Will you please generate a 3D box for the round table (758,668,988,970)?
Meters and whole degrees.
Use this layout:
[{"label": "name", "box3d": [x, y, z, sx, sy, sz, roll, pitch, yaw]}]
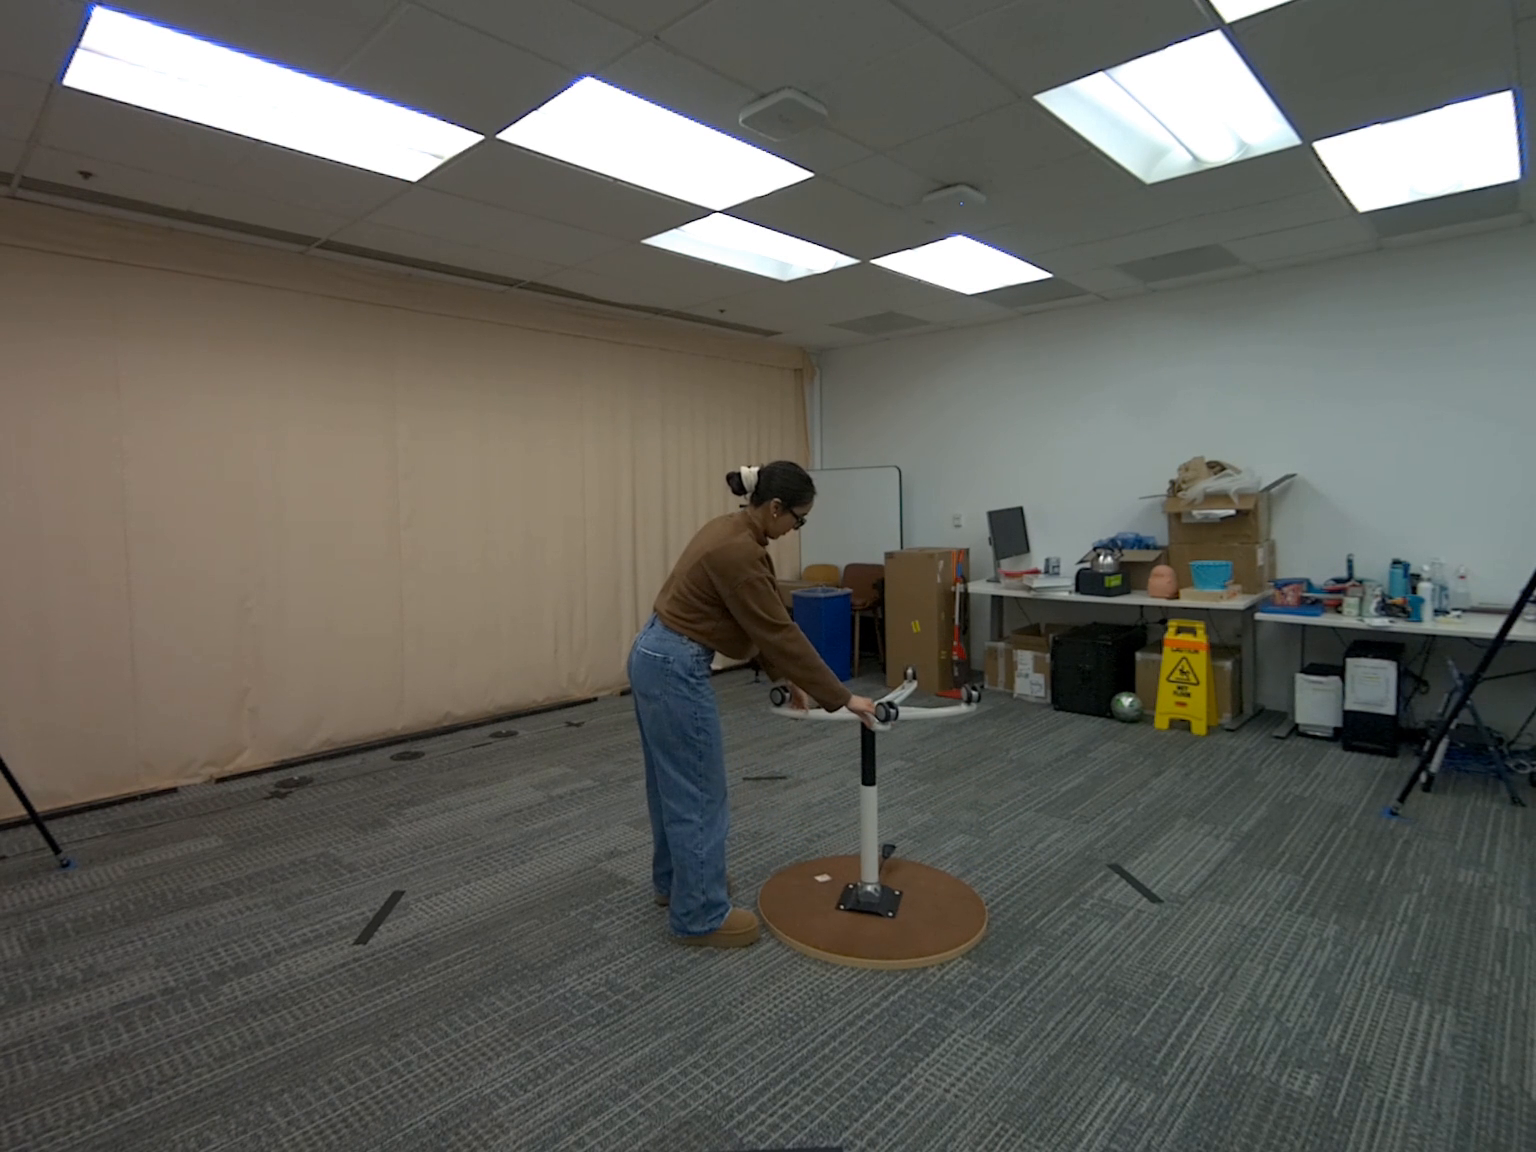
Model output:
[{"label": "round table", "box3d": [0.357, 0.749, 2.876, 0.763, 0.792, 0.767, -1, 5, -2]}]
